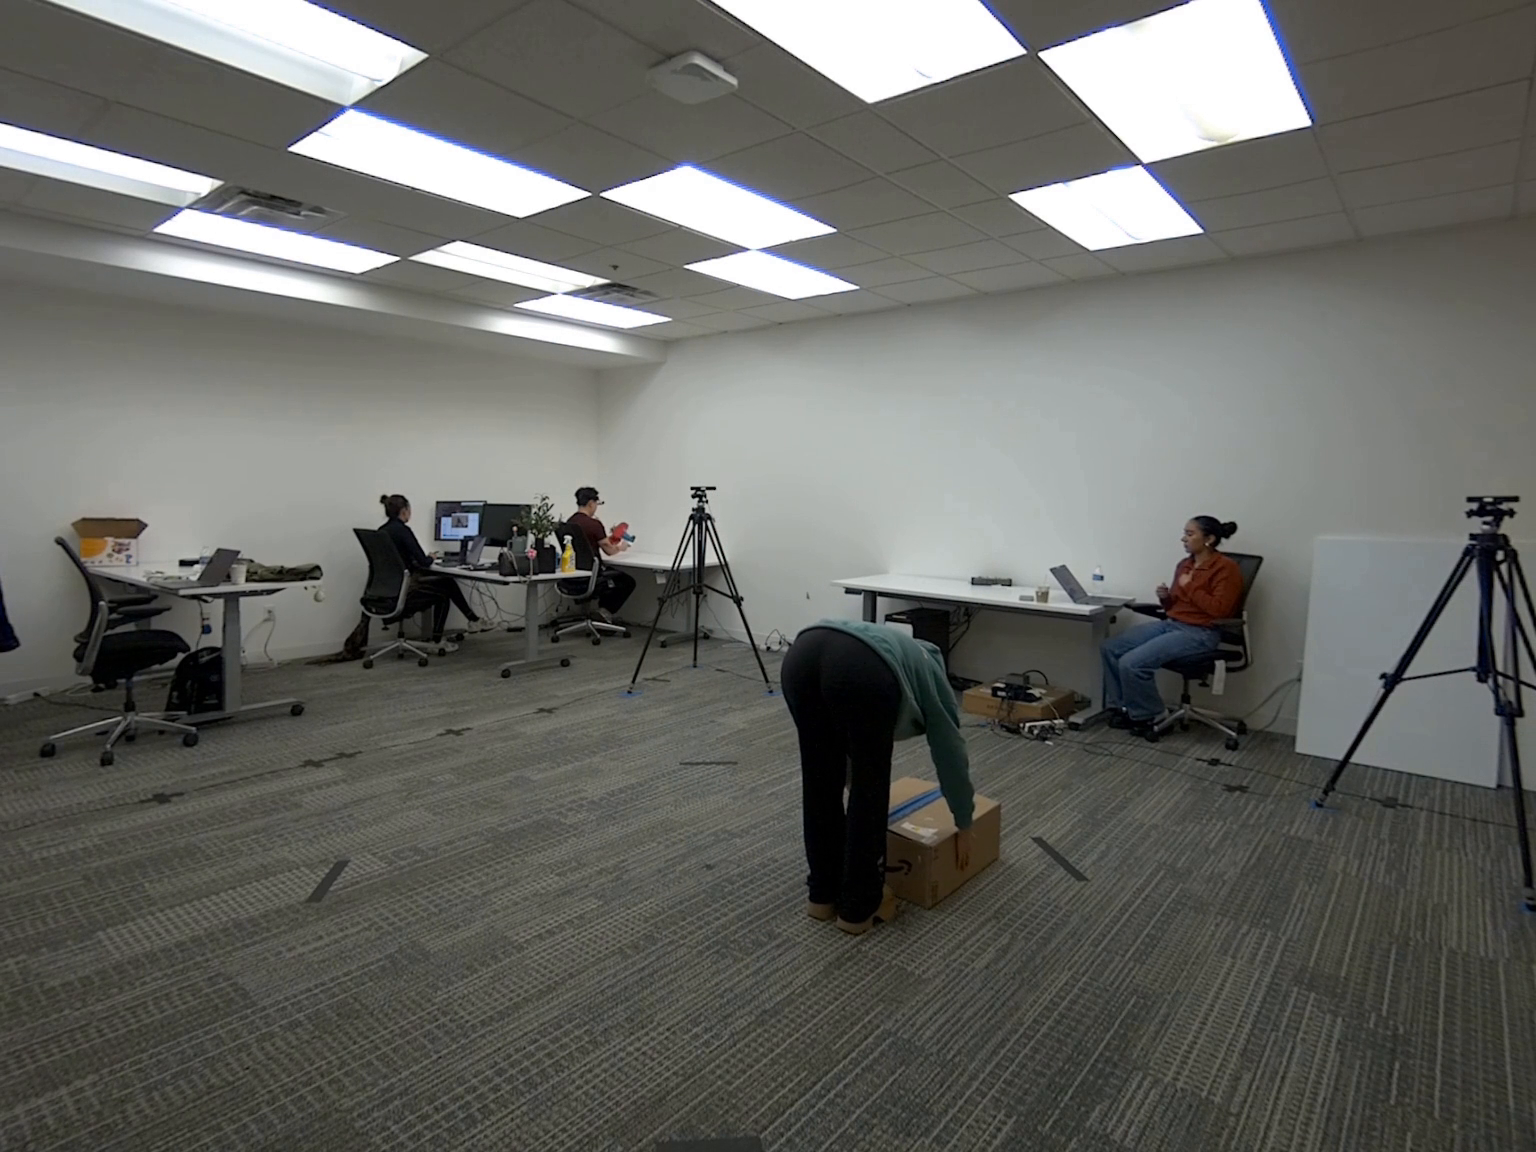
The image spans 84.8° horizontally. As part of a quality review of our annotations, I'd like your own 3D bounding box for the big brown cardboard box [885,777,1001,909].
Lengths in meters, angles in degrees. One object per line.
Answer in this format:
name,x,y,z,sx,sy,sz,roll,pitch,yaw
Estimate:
big brown cardboard box,0.546,0.965,3.167,0.432,0.232,0.571,5,5,40
